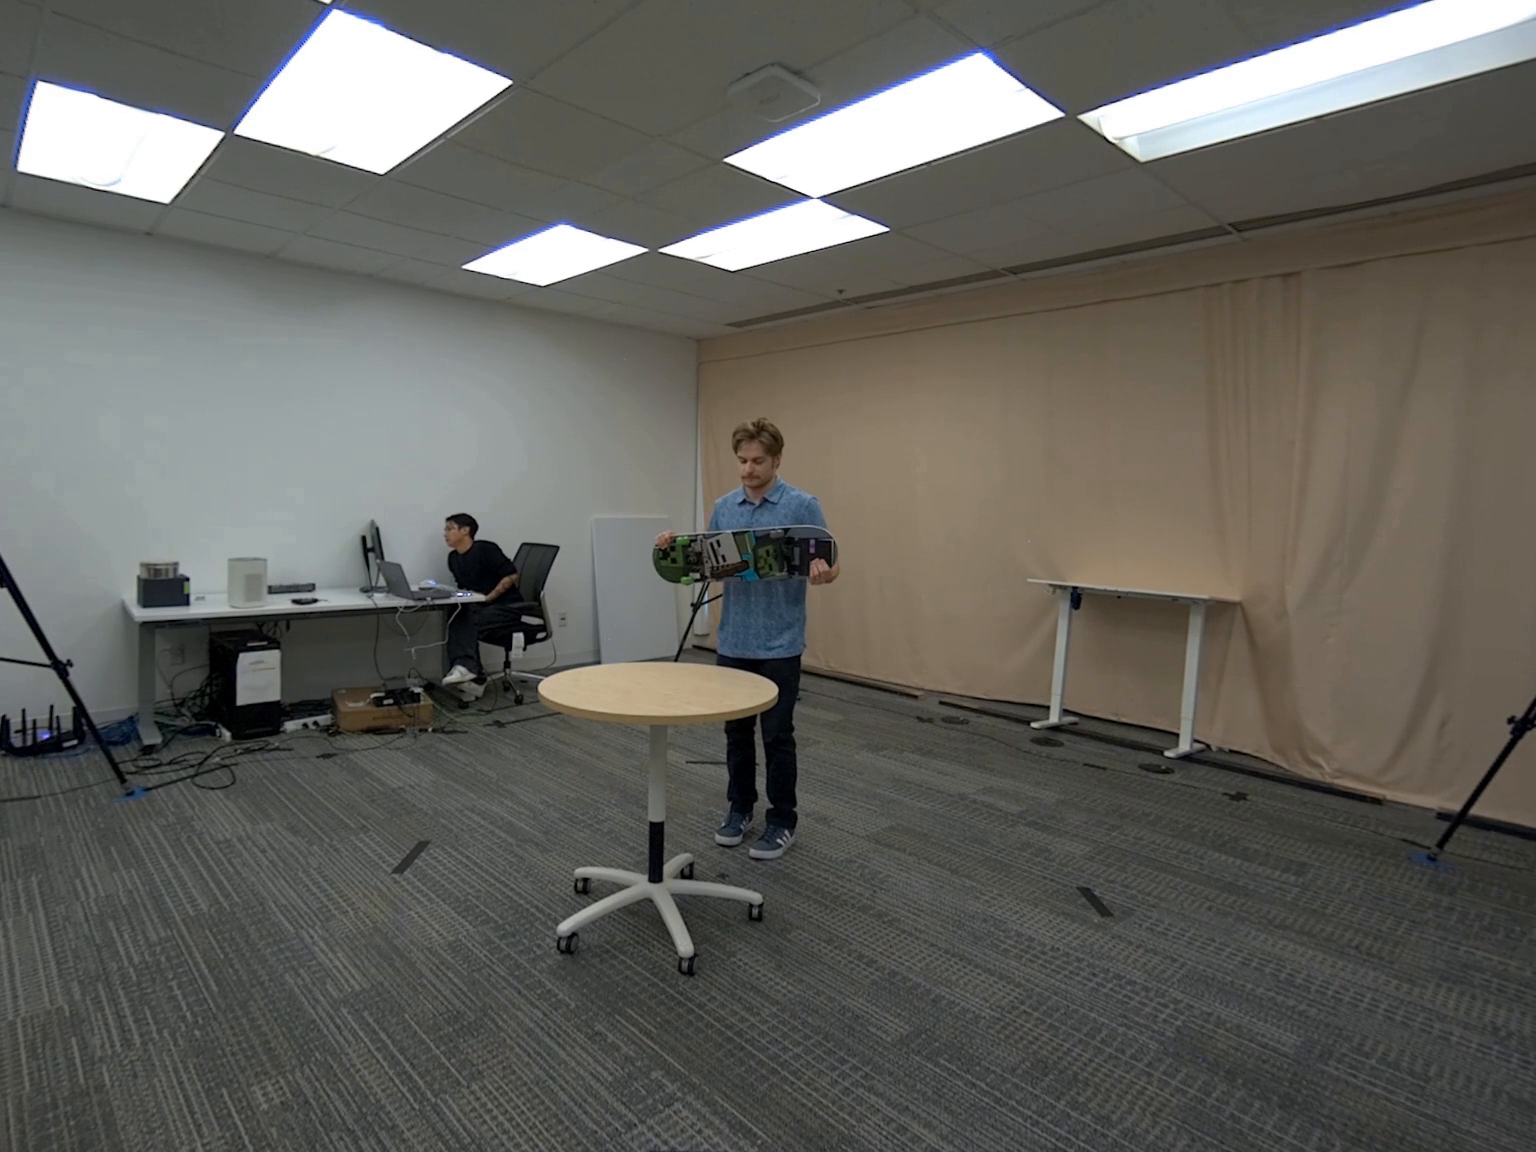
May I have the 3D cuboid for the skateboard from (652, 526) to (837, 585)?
[{"bbox_3d":[-0.132,-0.069,3.160,0.800,0.192,0.109,-1,7,28],"label":"skateboard"}]
